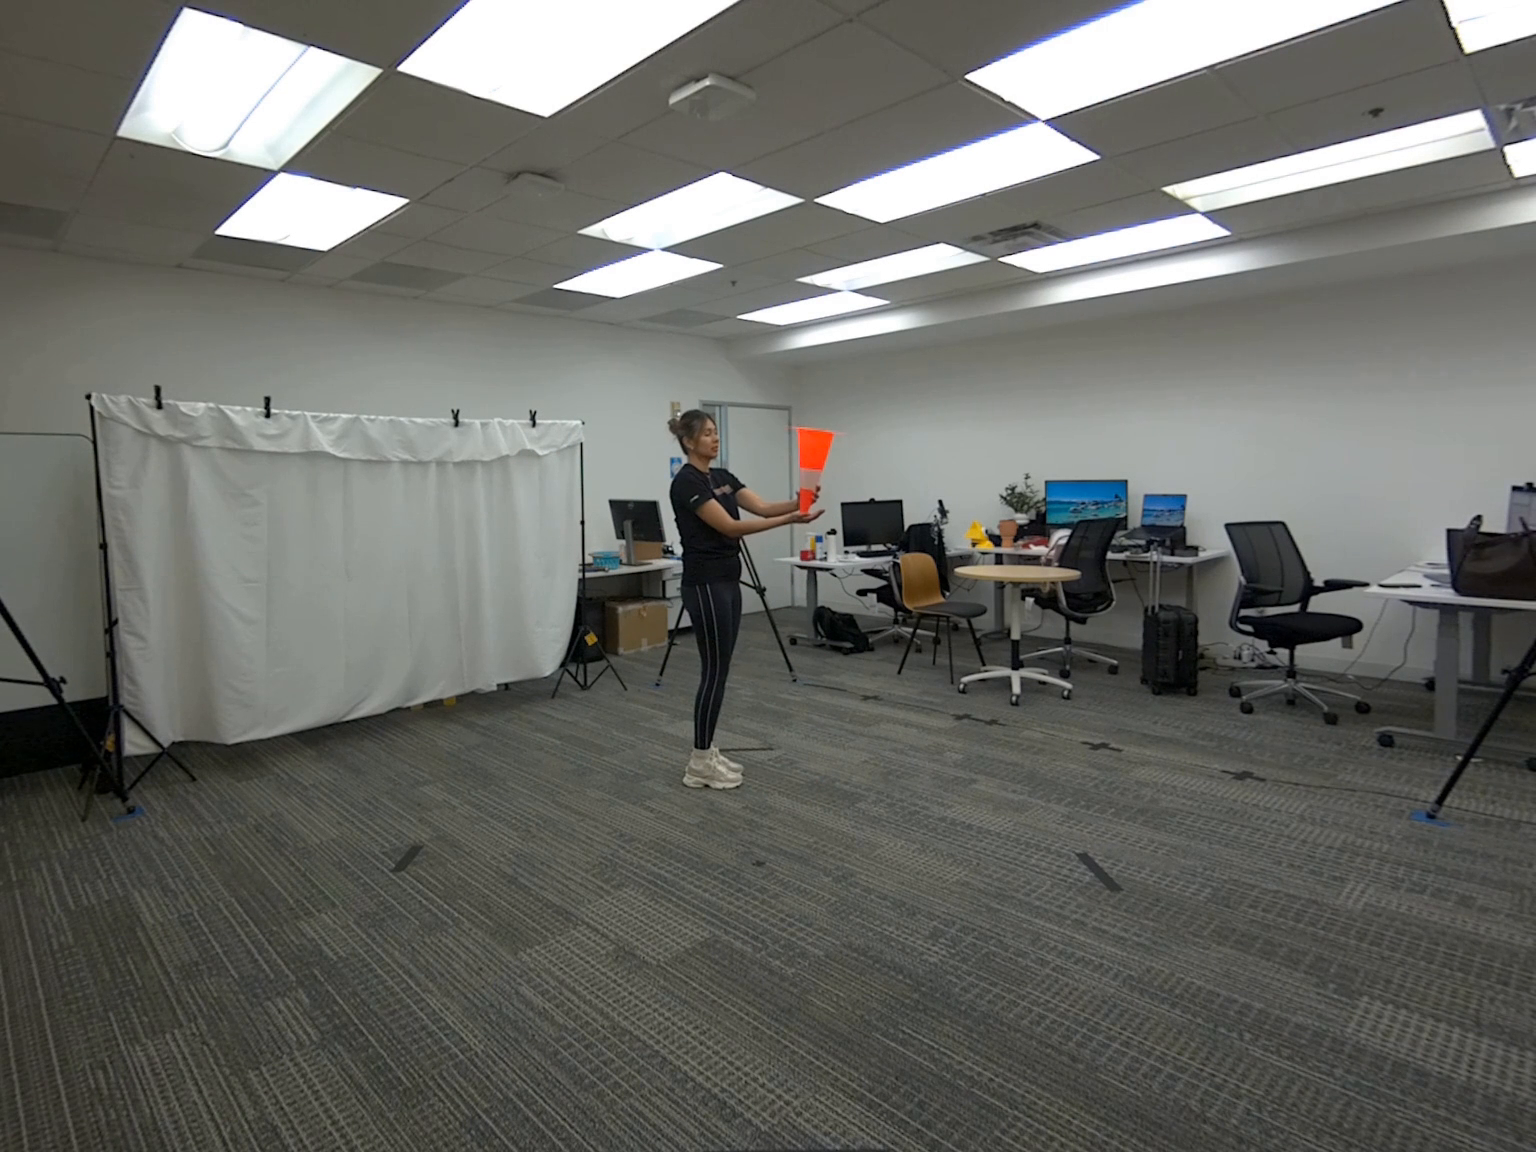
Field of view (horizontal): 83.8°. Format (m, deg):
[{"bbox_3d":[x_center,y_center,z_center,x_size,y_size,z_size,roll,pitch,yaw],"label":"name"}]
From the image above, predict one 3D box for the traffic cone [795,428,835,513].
[{"bbox_3d":[0.198,-0.430,3.693,0.197,0.382,0.212,0,7,-39],"label":"traffic cone"}]
